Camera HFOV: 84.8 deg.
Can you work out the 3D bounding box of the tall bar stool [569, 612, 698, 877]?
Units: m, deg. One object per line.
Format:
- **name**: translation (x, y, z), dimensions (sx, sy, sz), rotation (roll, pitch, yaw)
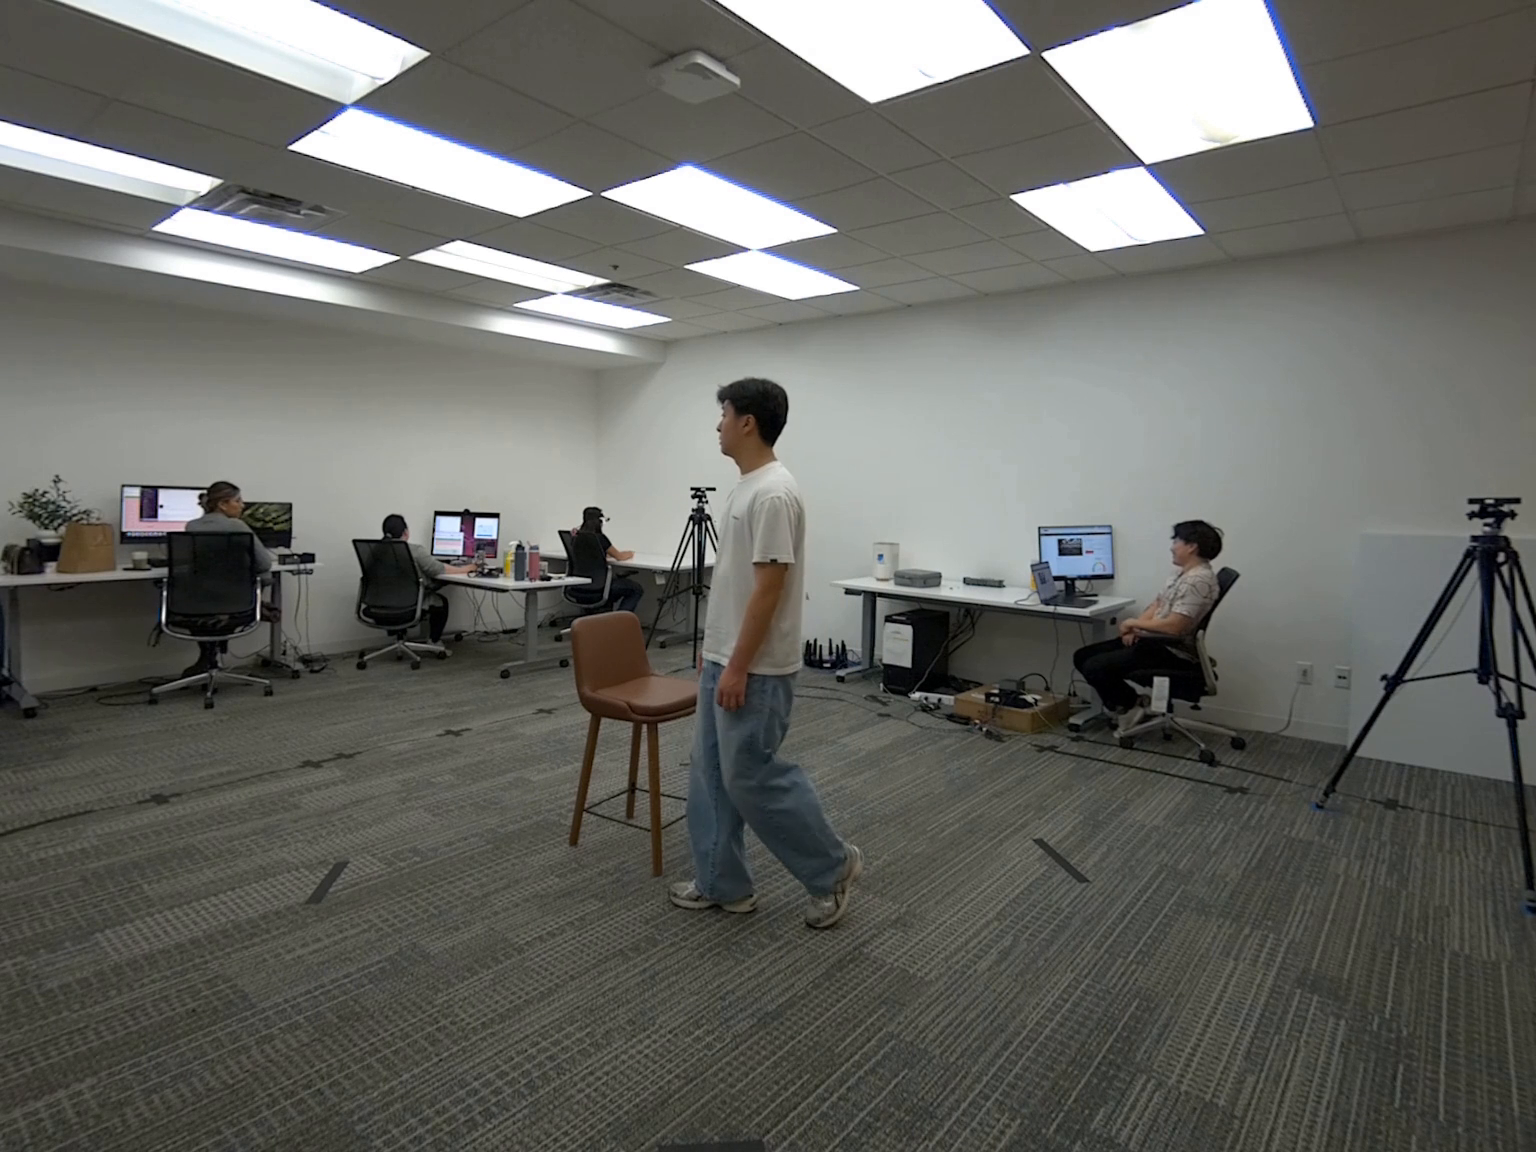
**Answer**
- **tall bar stool**: translation (-0.493, 0.605, 3.309), dimensions (0.481, 0.888, 0.444), rotation (1, 2, 32)
